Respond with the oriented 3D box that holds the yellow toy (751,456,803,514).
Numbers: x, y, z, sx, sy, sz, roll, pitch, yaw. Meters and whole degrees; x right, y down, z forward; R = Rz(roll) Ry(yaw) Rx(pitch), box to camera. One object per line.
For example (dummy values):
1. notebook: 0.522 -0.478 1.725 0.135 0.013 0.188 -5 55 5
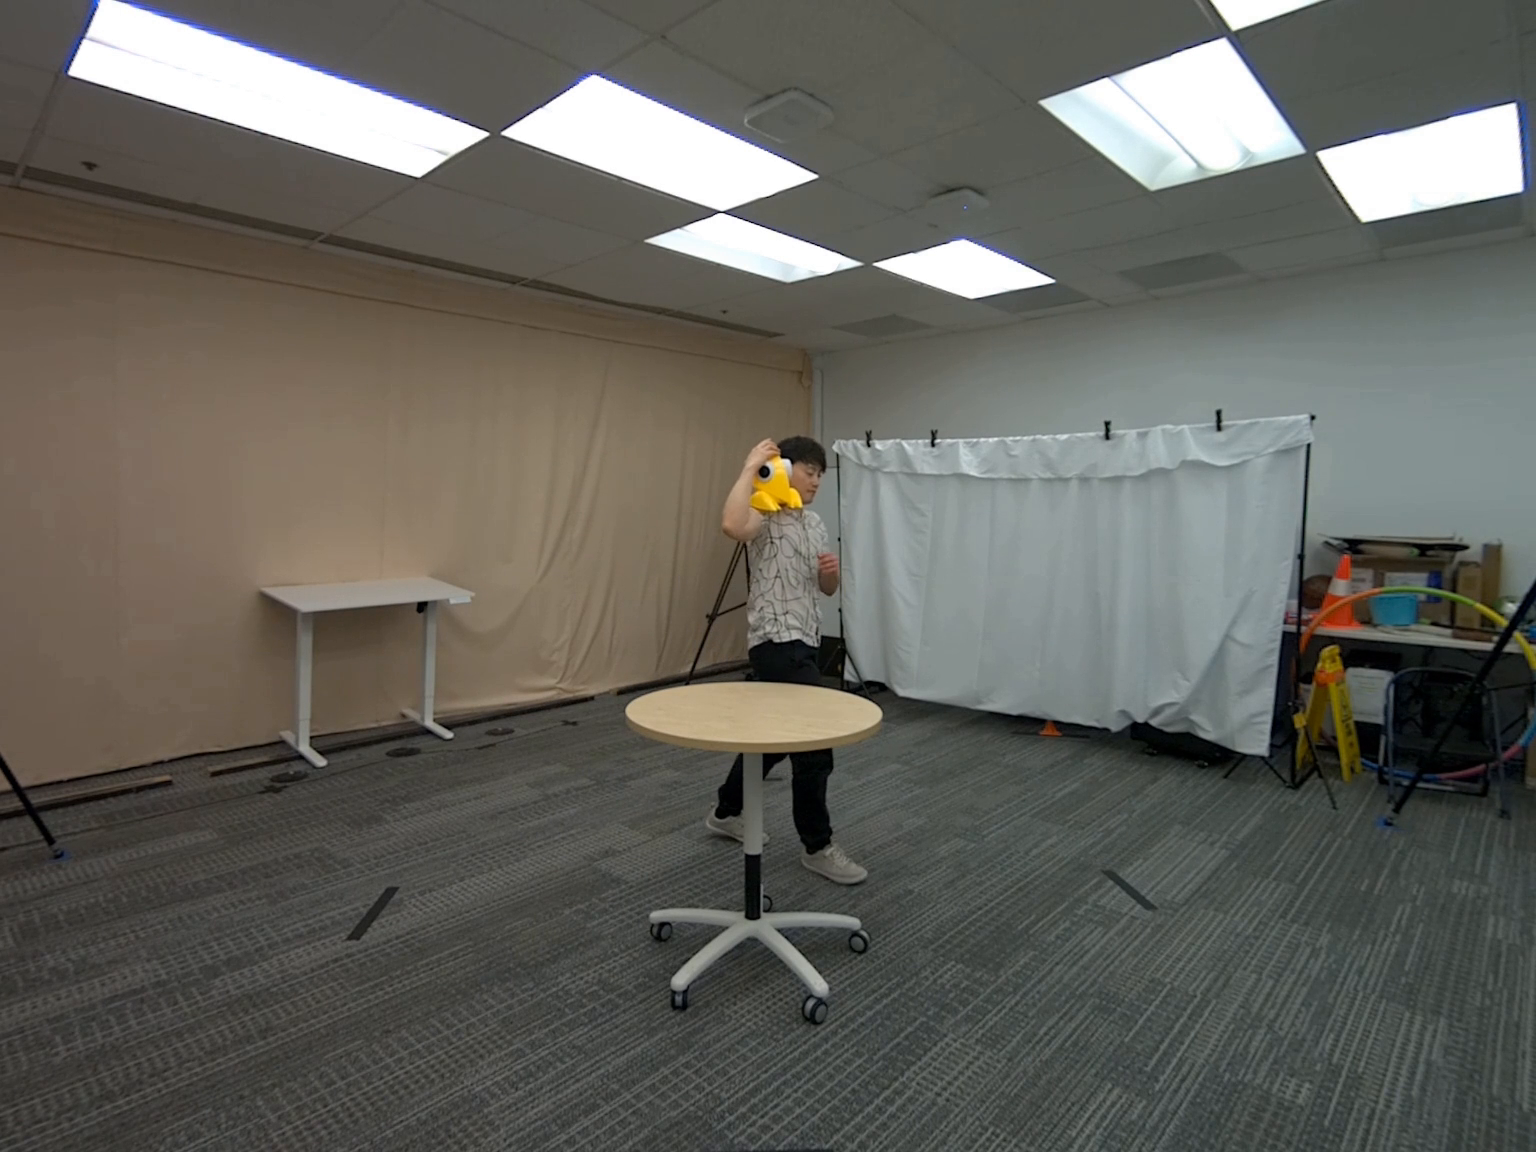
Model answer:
1. yellow toy: 0.031 -0.378 3.123 0.199 0.229 0.200 -8 20 -37
